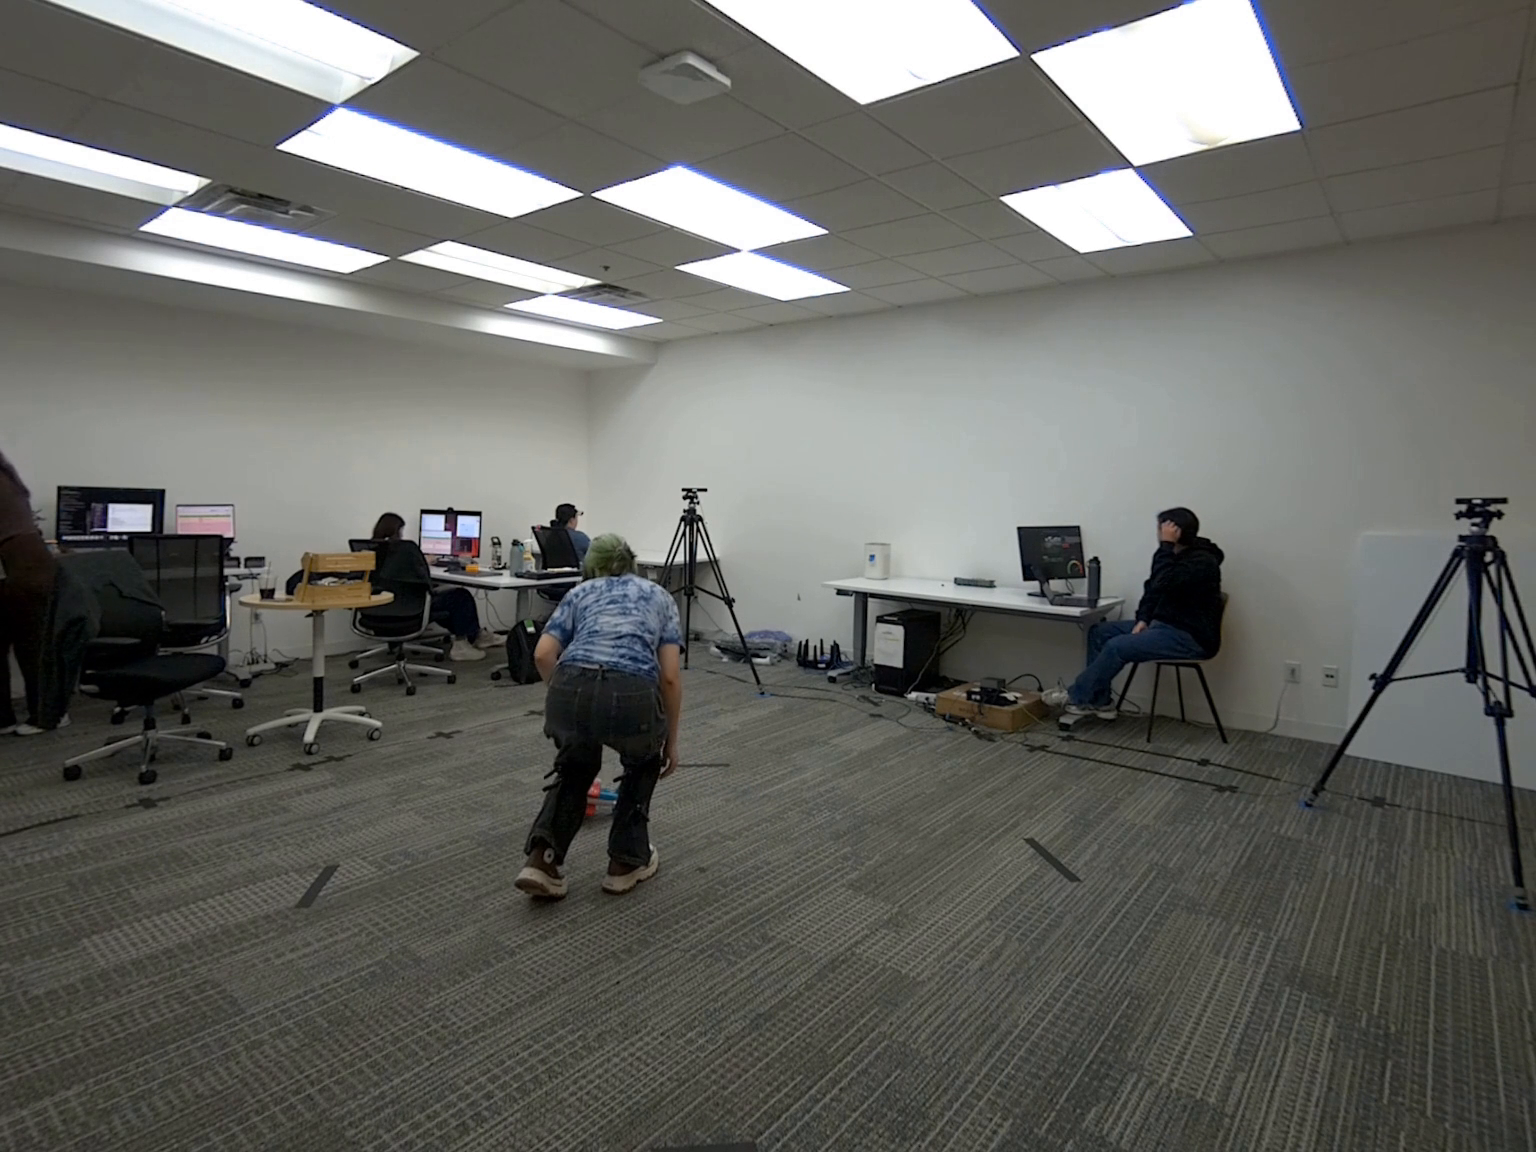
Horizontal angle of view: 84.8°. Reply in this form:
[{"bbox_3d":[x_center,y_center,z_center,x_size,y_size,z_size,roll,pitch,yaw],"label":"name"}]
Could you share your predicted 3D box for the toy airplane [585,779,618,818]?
[{"bbox_3d":[-0.727,0.940,3.625,0.251,0.156,0.259,-3,4,-40],"label":"toy airplane"}]
